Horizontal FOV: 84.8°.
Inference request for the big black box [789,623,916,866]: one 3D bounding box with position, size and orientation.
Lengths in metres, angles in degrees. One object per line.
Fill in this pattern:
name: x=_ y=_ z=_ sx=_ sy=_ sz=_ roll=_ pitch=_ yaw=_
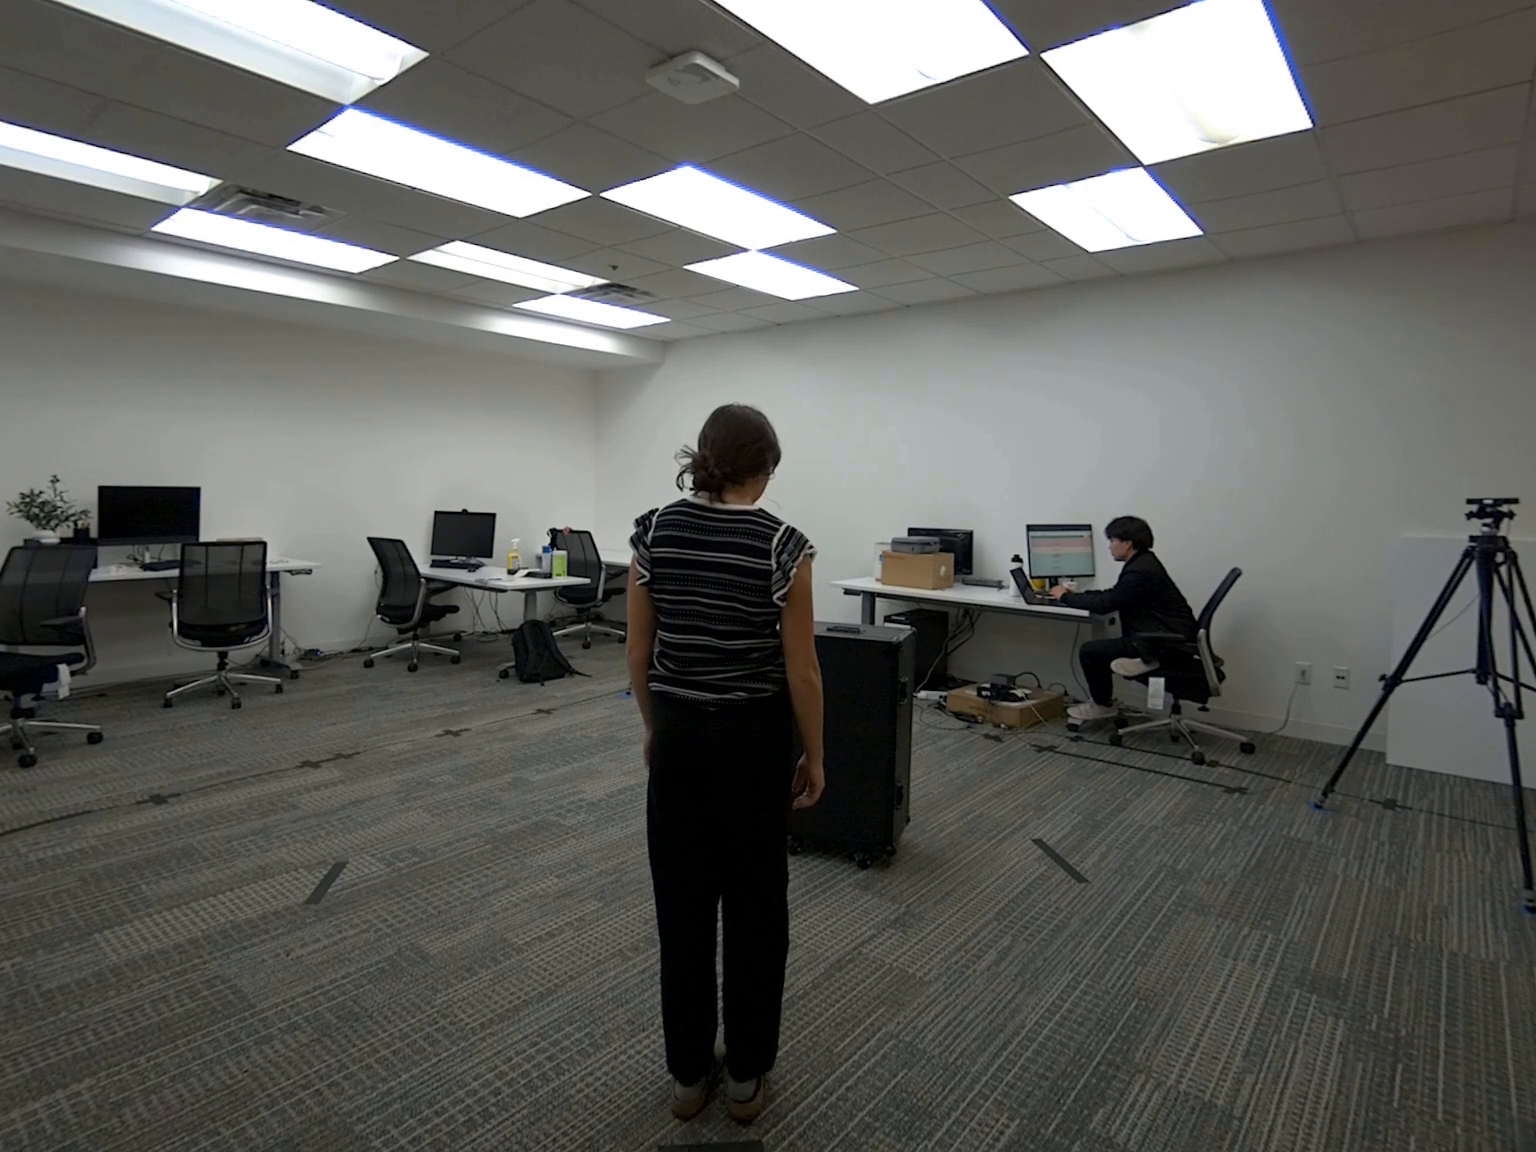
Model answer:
big black box: x=0.290 y=0.634 z=3.345 sx=0.533 sy=0.859 sz=0.388 roll=3 pitch=3 yaw=21
